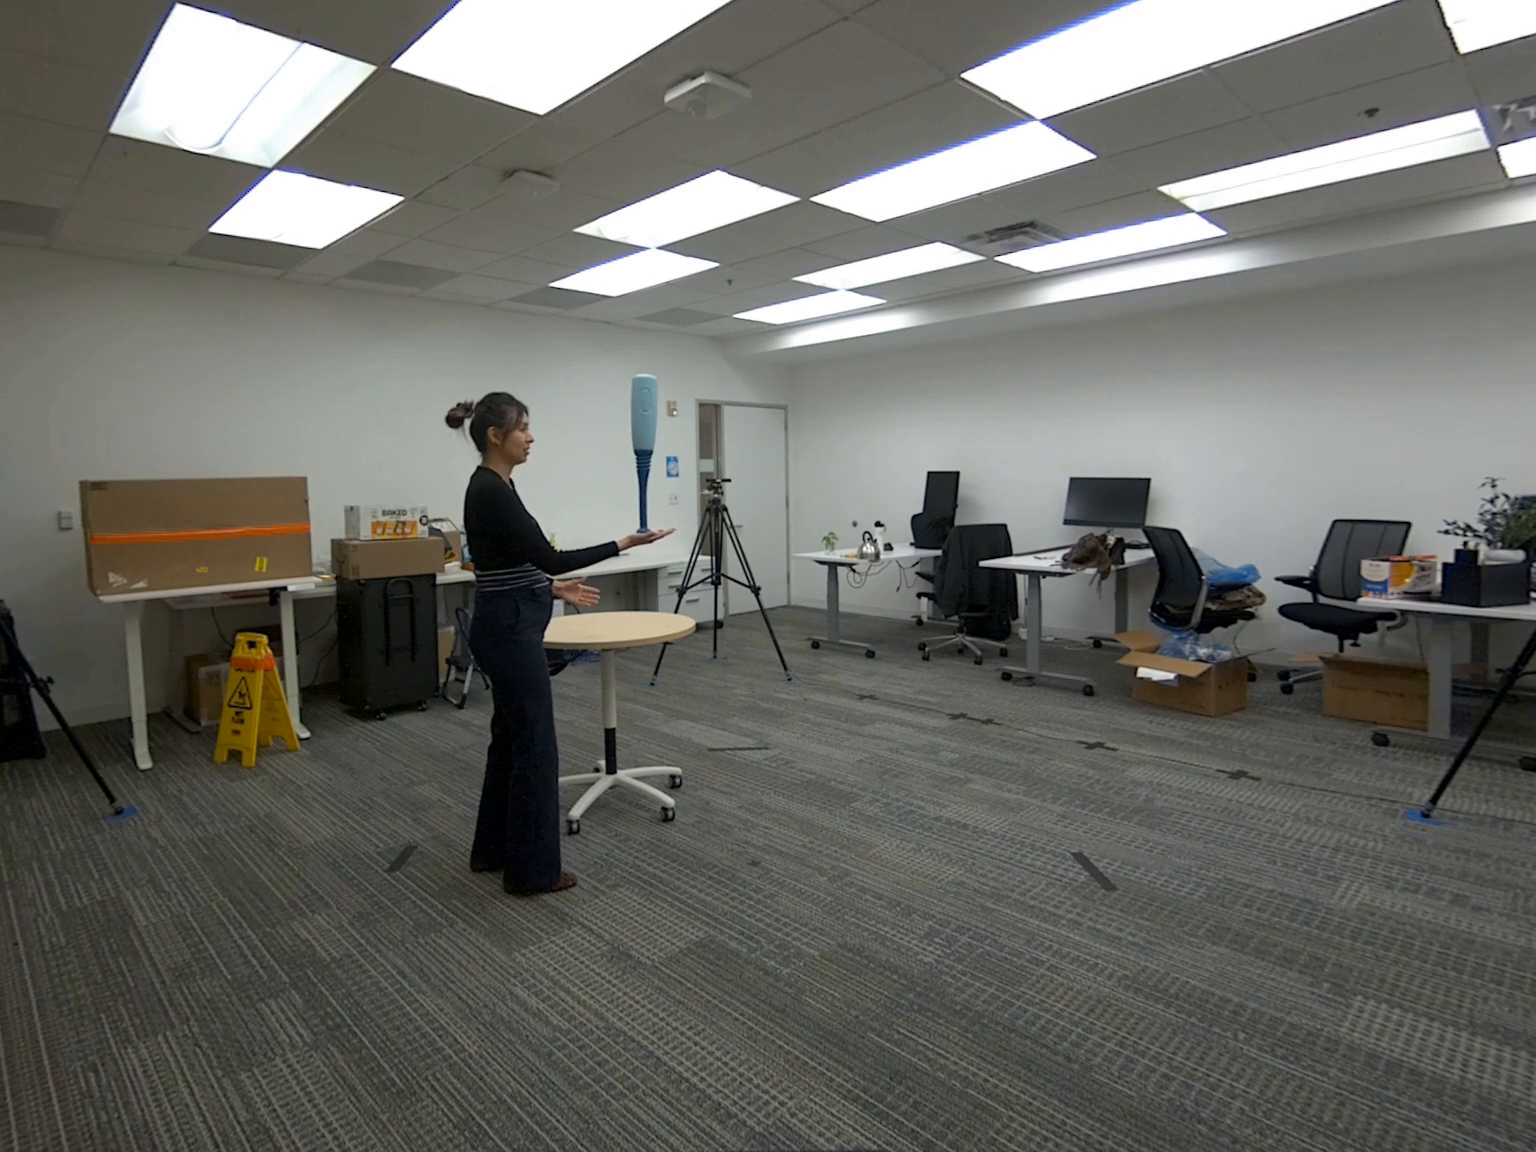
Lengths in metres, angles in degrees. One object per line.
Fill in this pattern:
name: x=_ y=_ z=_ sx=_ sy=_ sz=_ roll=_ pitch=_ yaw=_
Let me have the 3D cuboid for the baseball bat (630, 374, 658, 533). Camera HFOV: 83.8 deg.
baseball bat: x=-0.426 y=-0.410 z=2.892 sx=0.089 sy=0.541 sz=0.089 roll=0 pitch=4 yaw=-2
